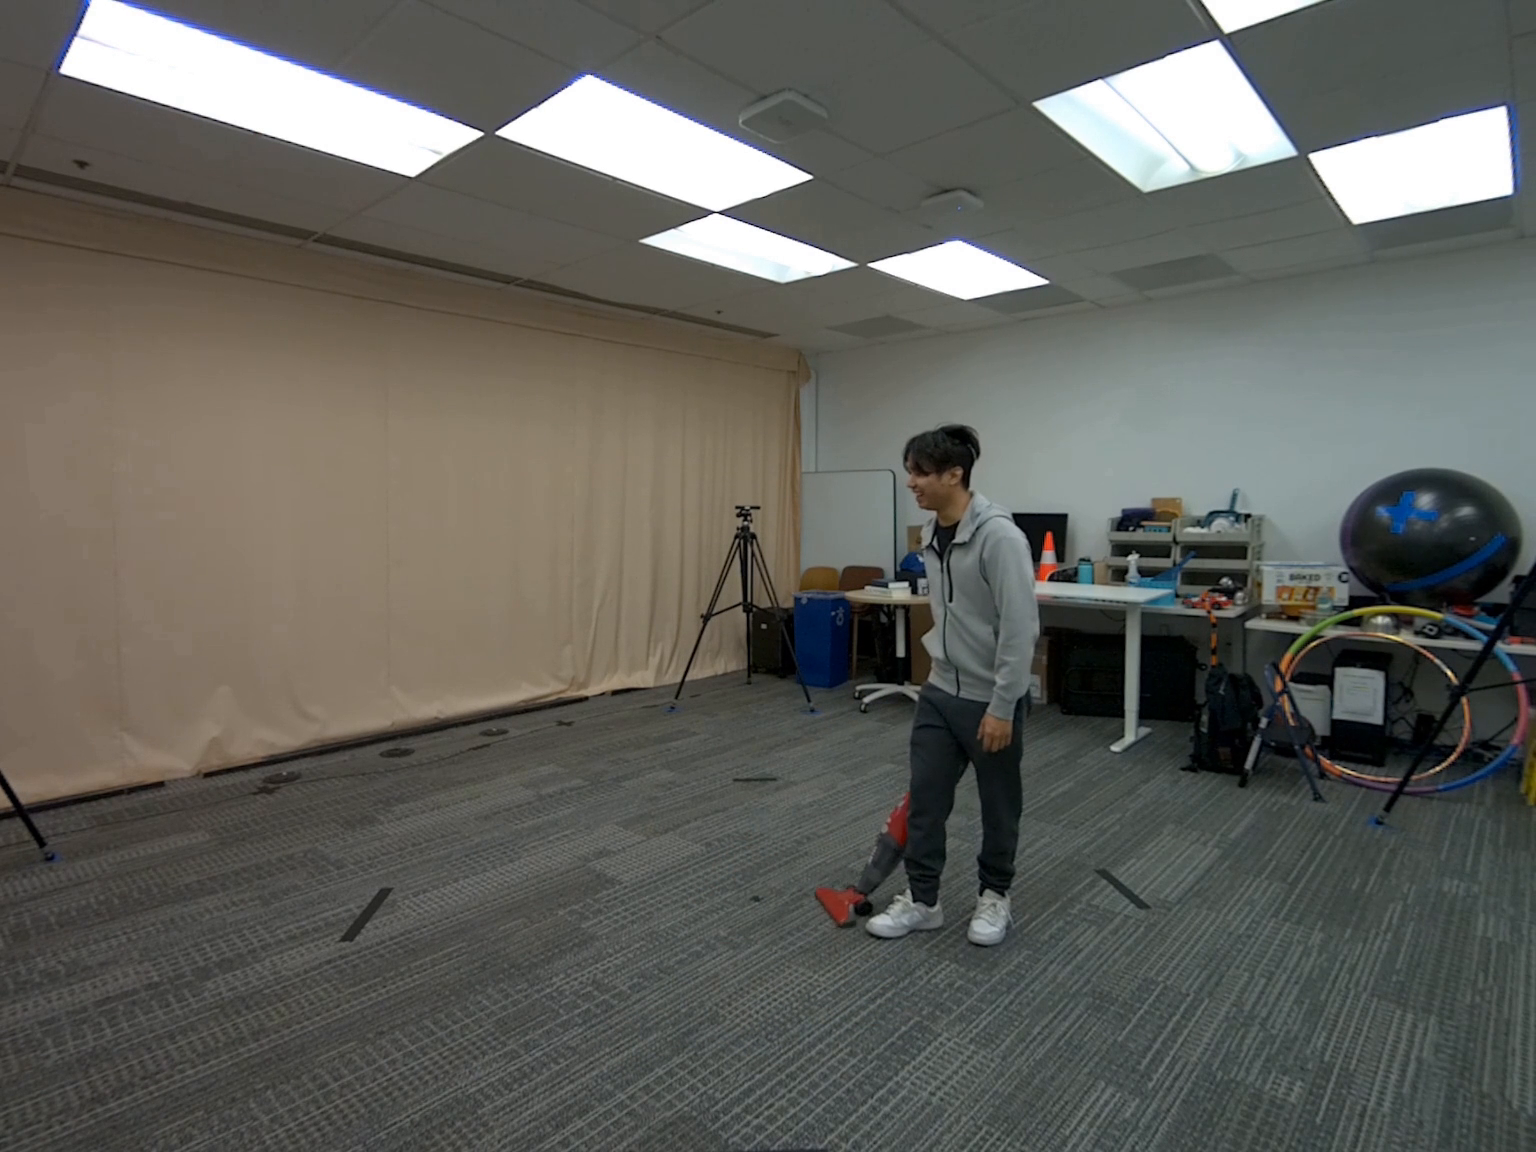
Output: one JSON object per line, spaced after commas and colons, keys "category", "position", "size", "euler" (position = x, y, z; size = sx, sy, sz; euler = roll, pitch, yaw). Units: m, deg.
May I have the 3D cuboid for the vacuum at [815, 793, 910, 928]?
{"category": "vacuum", "position": [0.567, 0.739, 2.974], "size": [0.142, 1.047, 0.256], "euler": [42, -9, -10]}
